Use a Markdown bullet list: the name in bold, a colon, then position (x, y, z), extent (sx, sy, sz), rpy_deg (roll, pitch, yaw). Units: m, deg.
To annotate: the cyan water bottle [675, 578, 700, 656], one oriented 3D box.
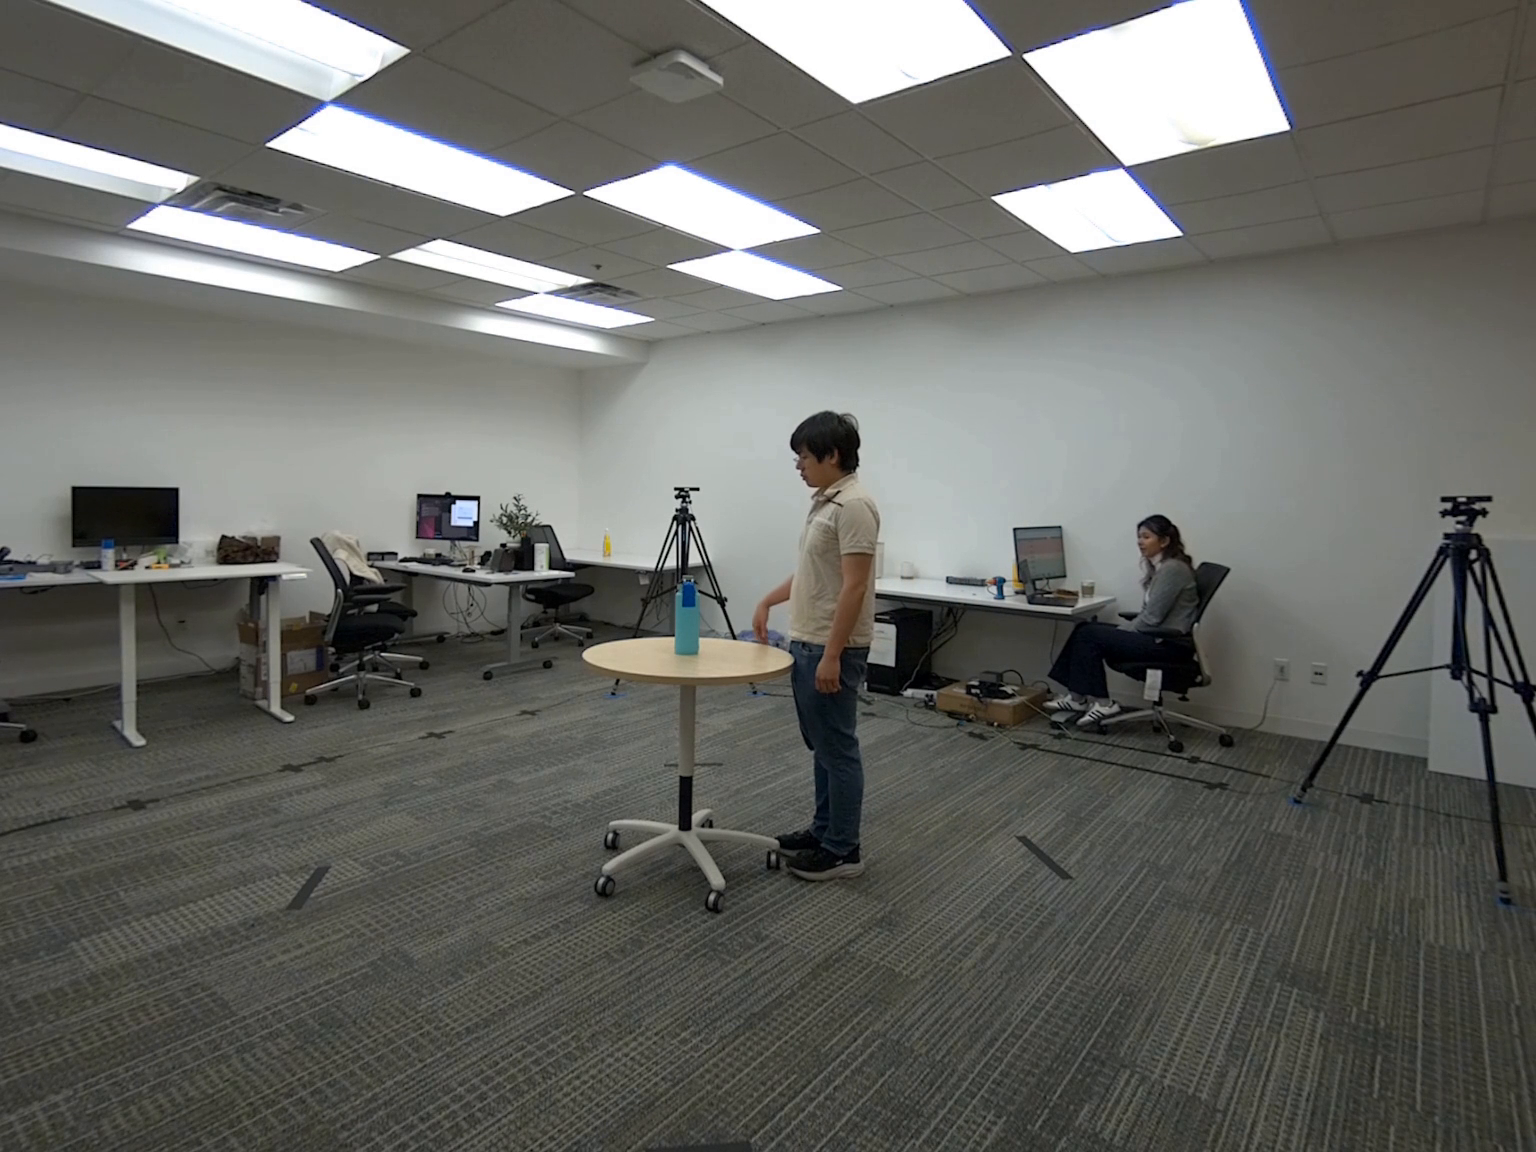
- **cyan water bottle**: position (-0.303, 0.141, 3.121), extent (0.092, 0.282, 0.093), rpy_deg (2, 4, -2)
